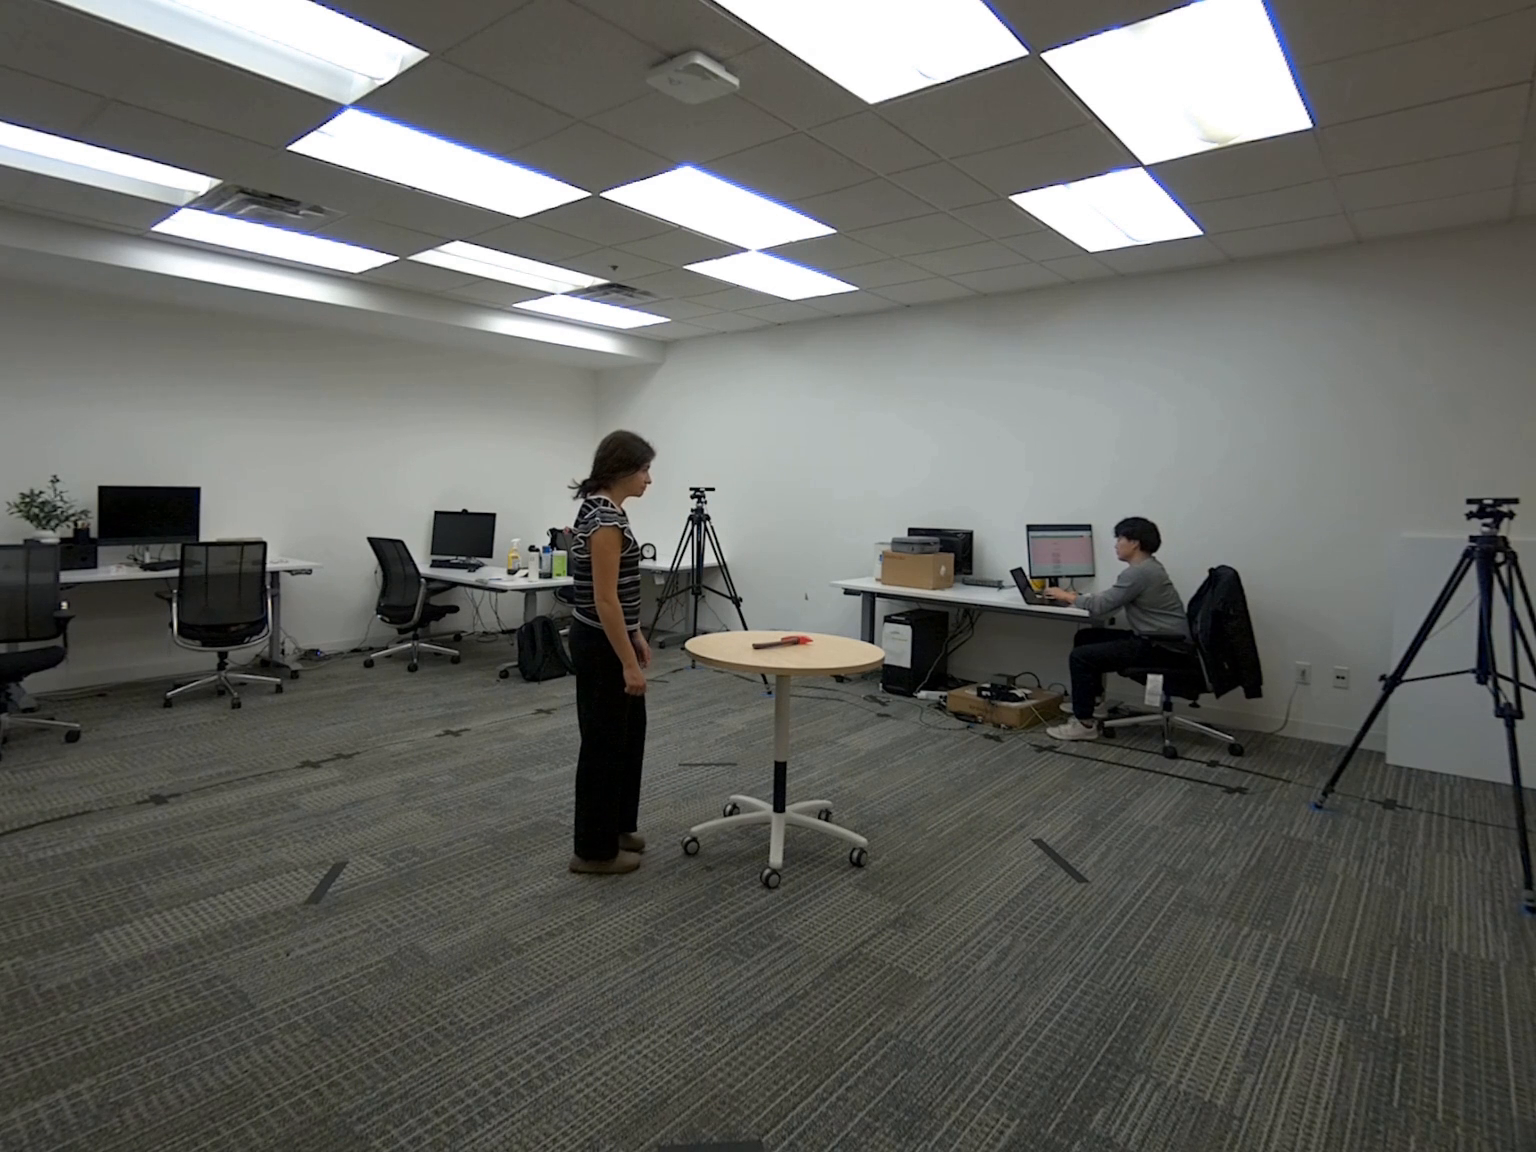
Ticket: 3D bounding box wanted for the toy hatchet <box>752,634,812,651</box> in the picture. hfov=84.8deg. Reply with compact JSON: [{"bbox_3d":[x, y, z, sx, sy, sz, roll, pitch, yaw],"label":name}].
[{"bbox_3d":[0.031,0.255,3.330,0.263,0.029,0.135,-3,8,-30],"label":"toy hatchet"}]
